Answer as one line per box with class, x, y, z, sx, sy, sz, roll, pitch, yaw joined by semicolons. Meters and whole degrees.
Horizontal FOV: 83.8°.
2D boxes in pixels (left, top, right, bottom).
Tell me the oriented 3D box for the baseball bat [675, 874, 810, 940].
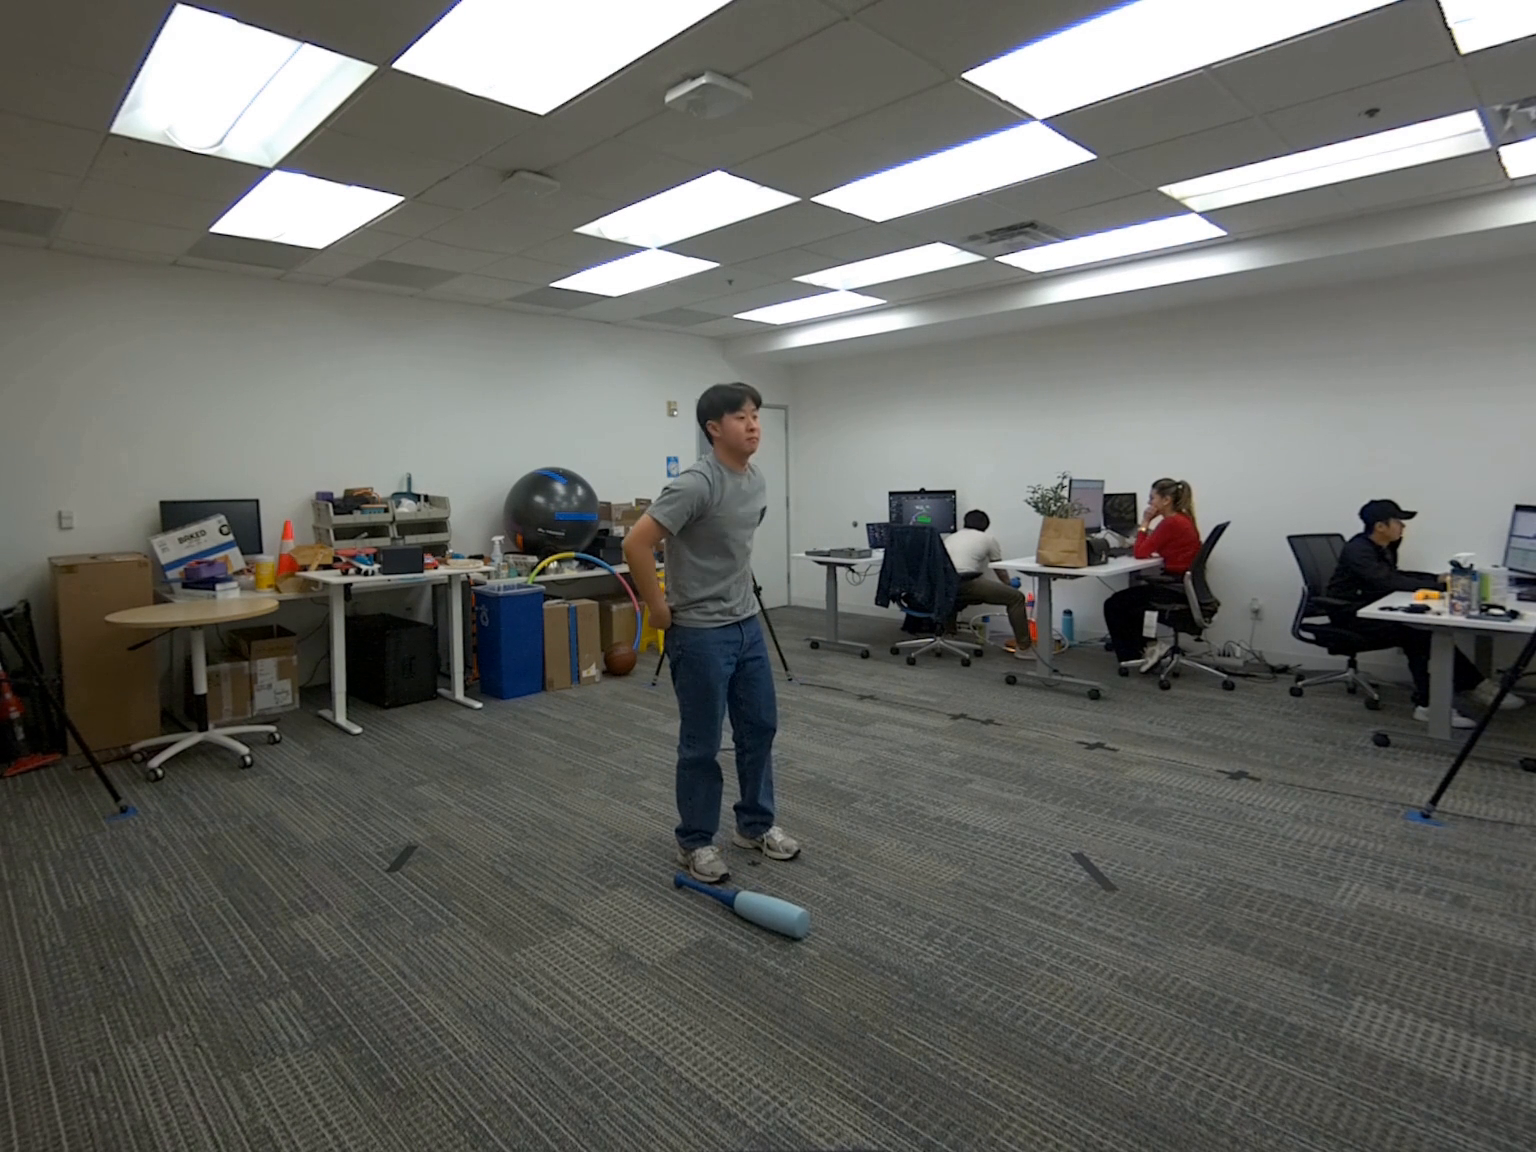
baseball bat;-0.098;1.050;2.759;0.559;0.089;0.087;1;5;41
